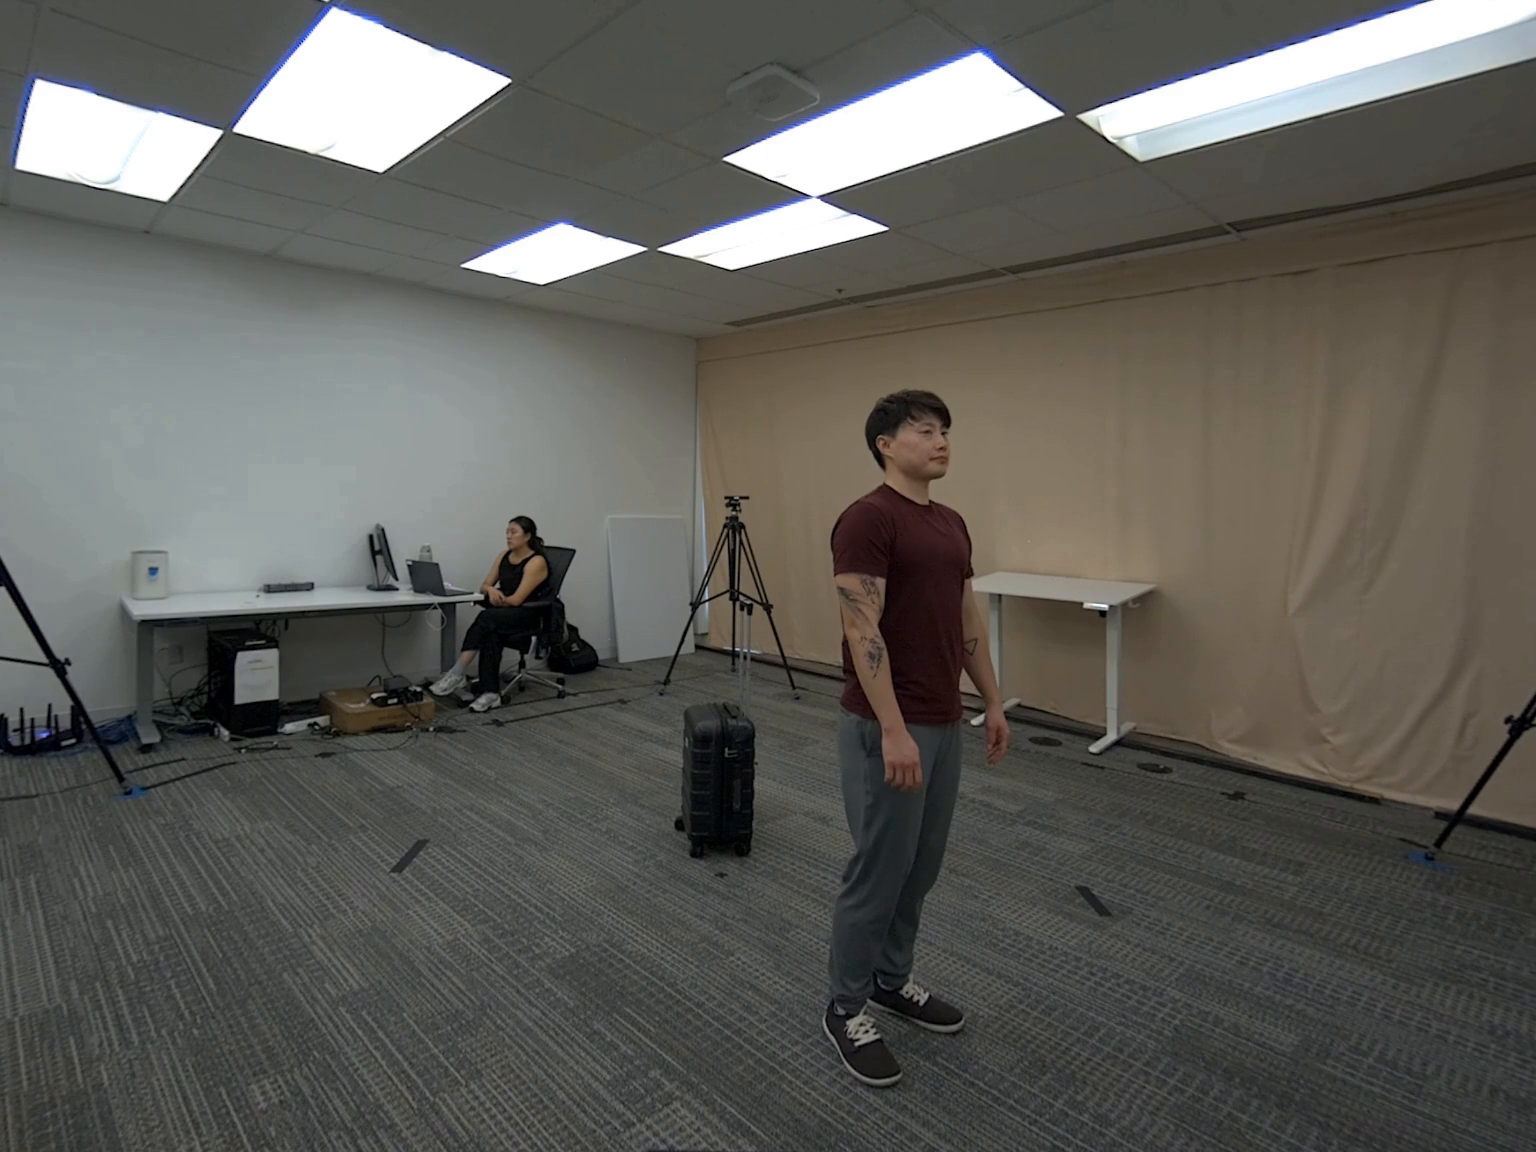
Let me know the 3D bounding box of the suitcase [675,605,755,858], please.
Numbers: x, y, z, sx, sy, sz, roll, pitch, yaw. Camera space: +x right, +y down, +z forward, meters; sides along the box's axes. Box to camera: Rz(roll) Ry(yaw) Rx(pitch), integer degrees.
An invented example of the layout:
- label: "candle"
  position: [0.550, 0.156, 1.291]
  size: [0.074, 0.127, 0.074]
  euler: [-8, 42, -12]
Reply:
- label: "suitcase"
  position: [-0.207, 0.598, 3.372]
  size: [0.255, 0.976, 0.388]
  euler: [-1, 3, -11]
